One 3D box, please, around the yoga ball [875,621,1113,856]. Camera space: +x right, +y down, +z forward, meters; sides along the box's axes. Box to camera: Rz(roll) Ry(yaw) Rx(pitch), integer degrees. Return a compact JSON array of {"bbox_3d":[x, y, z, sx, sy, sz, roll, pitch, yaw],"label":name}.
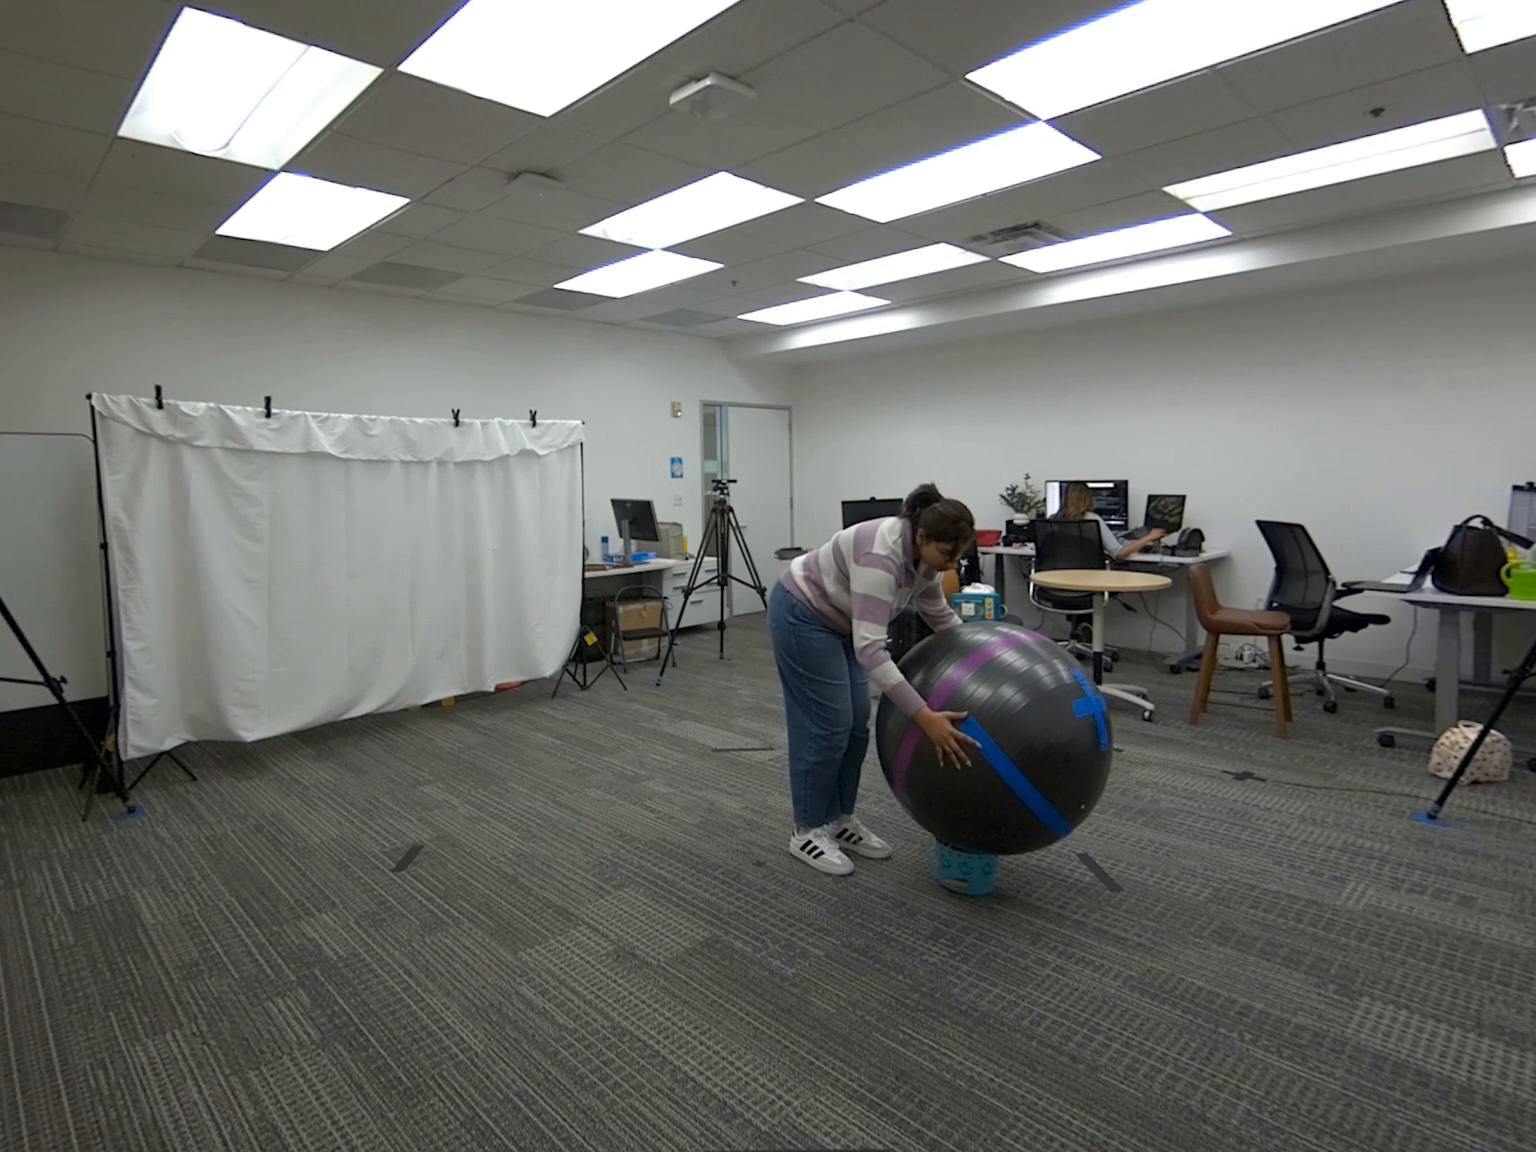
[{"bbox_3d":[0.761,0.540,2.865,0.757,0.755,0.762,-1,5,-2],"label":"yoga ball"}]
